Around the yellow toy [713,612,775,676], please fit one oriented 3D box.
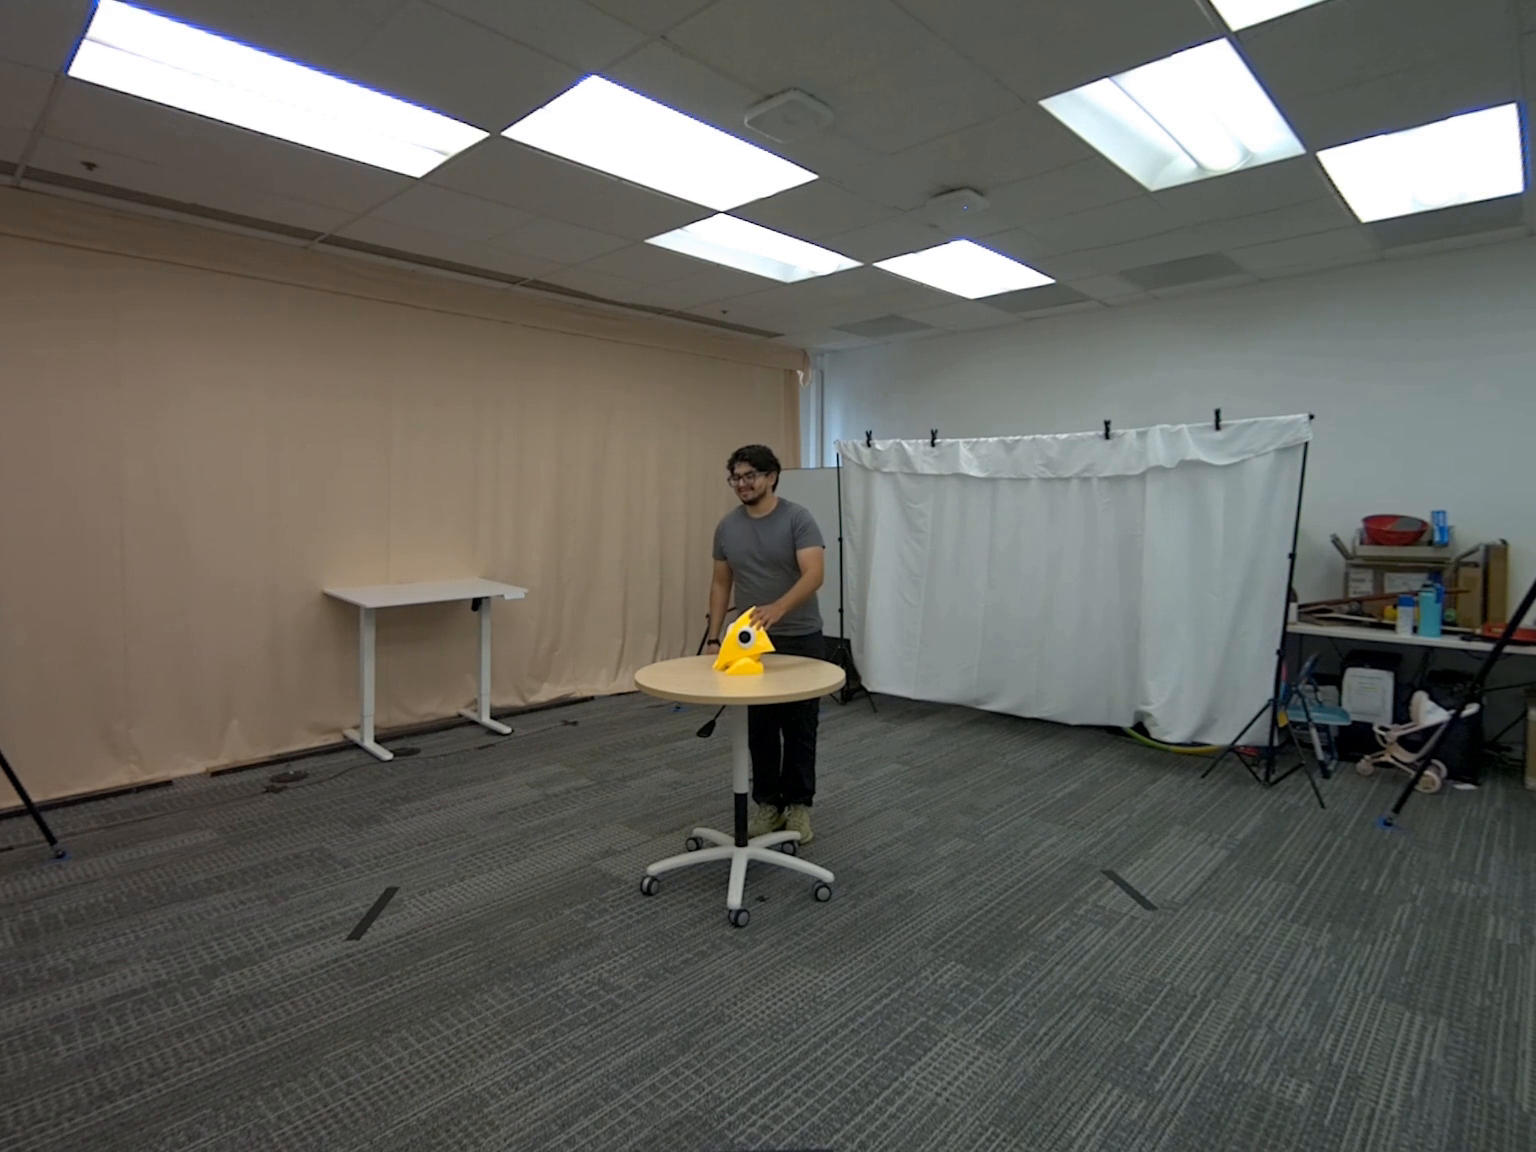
[{"bbox_3d":[-0.100,0.233,3.135,0.188,0.230,0.210,-2,5,-26],"label":"yellow toy"}]
